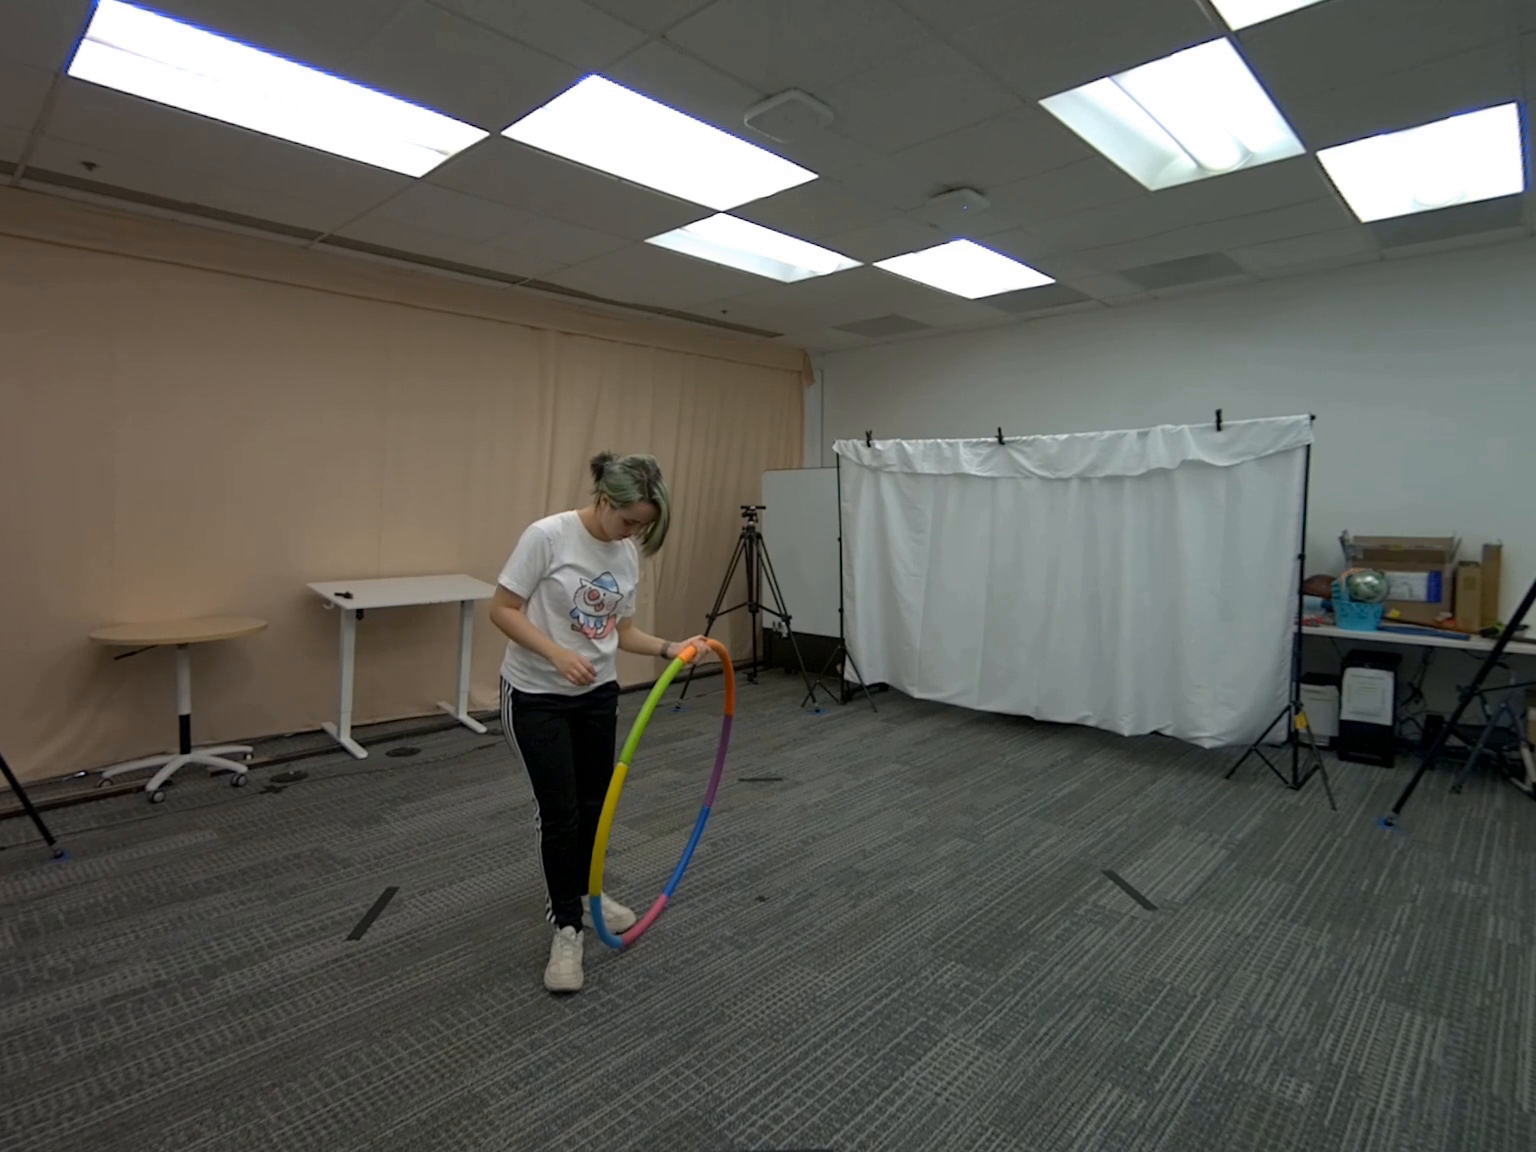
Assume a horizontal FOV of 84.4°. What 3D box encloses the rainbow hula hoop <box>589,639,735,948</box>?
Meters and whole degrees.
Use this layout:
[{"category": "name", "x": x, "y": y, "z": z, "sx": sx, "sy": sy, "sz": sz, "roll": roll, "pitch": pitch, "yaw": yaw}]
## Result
[{"category": "rainbow hula hoop", "x": -0.306, "y": 0.687, "z": 2.726, "sx": 0.036, "sy": 0.975, "sz": 0.961, "roll": 14, "pitch": 8, "yaw": 16}]
